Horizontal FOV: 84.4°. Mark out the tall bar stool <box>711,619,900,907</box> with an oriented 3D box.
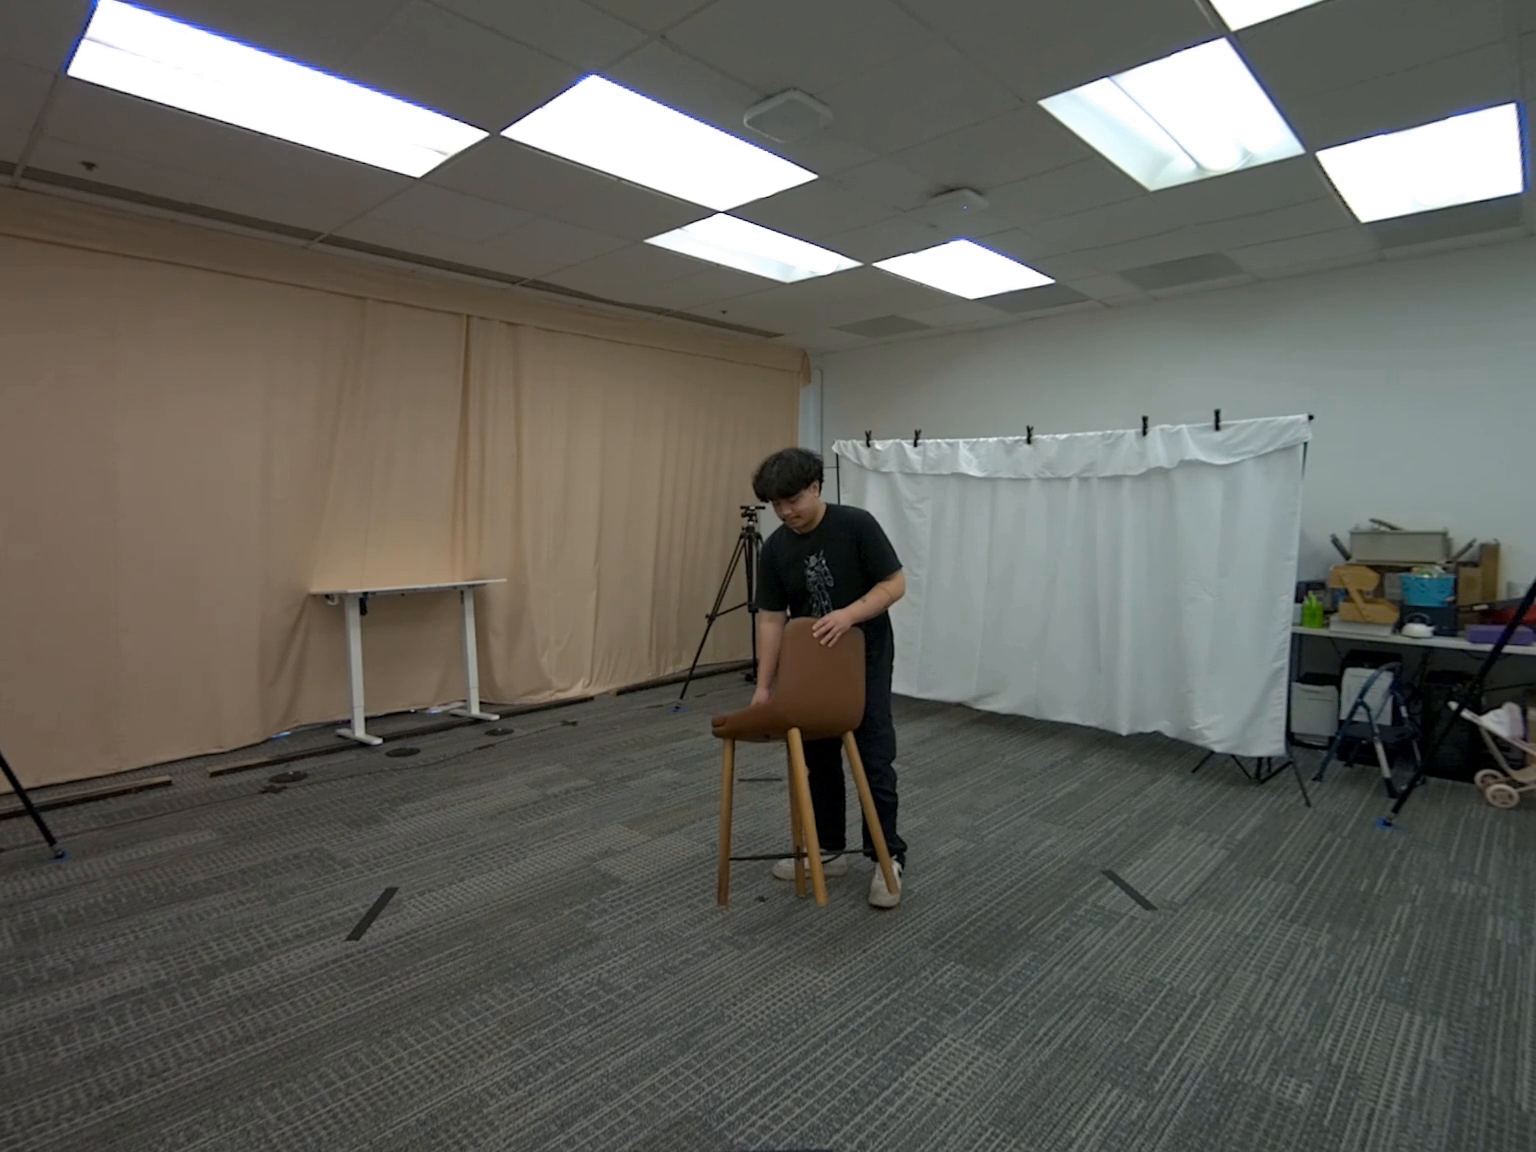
[{"bbox_3d":[0.098,0.639,2.867,0.441,0.901,0.478,13,-24,-41],"label":"tall bar stool"}]
